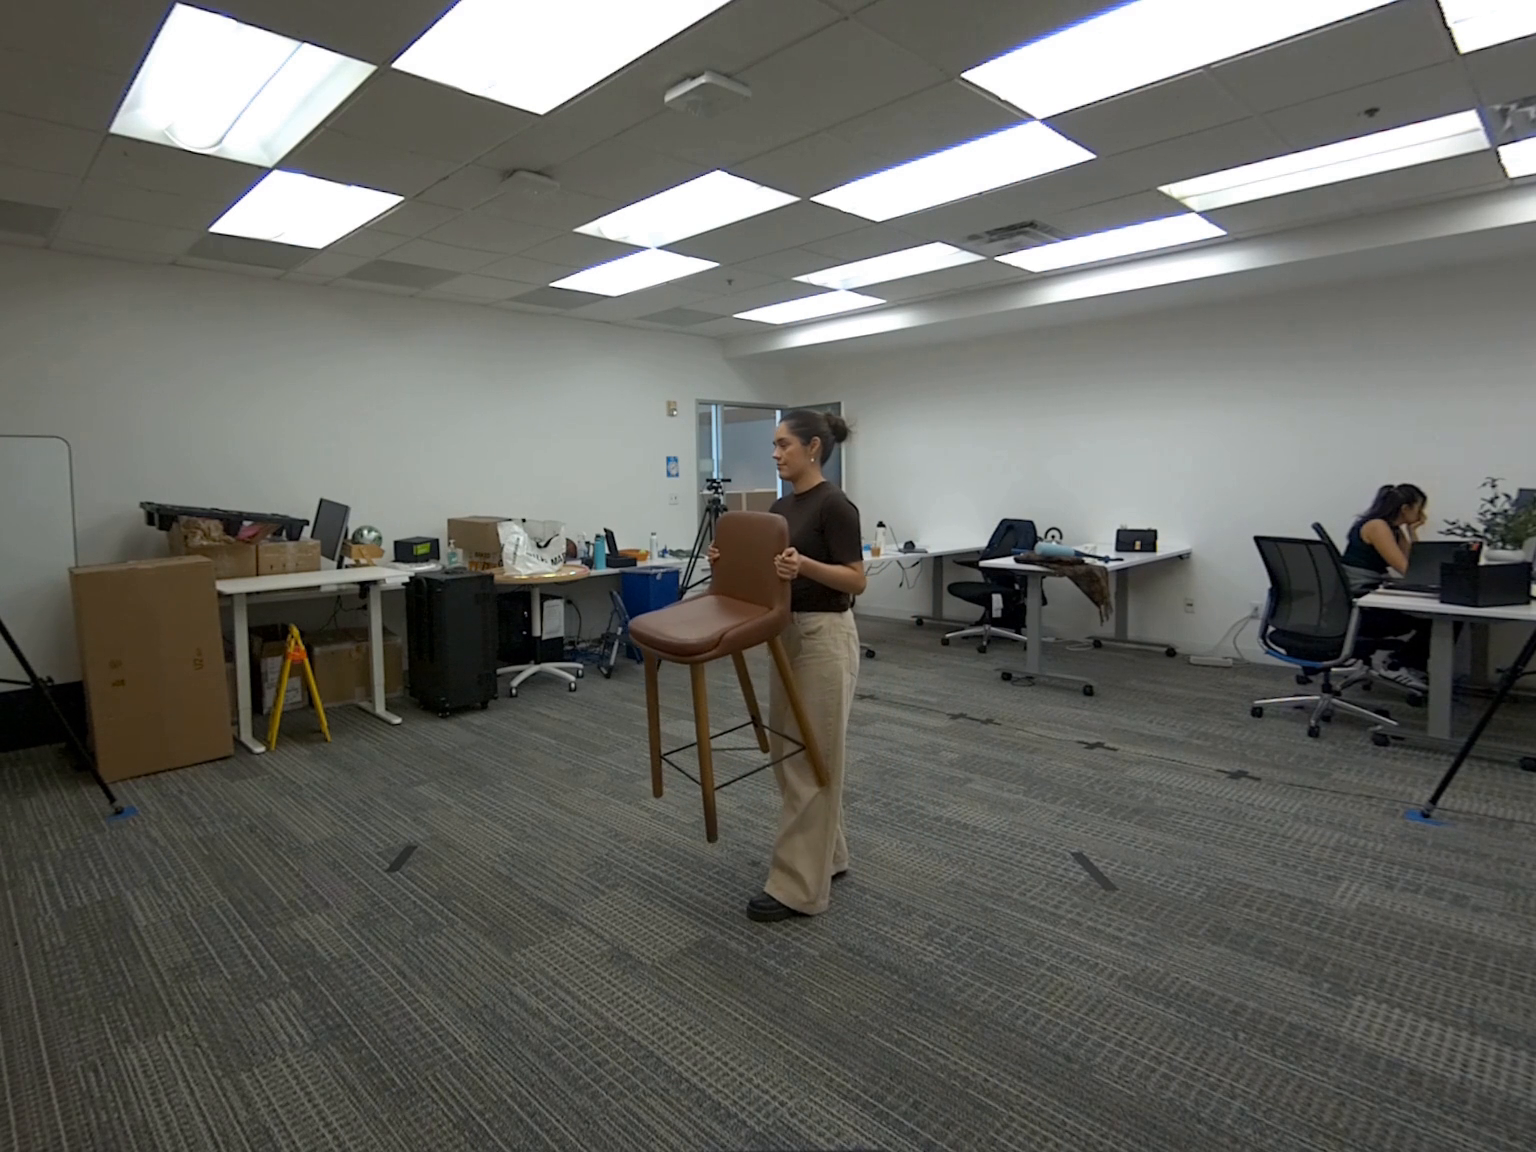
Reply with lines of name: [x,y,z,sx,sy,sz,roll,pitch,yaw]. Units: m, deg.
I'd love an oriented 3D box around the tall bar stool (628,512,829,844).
tall bar stool: [-0.149,0.281,2.684,0.459,0.880,0.470,-14,12,-29]
